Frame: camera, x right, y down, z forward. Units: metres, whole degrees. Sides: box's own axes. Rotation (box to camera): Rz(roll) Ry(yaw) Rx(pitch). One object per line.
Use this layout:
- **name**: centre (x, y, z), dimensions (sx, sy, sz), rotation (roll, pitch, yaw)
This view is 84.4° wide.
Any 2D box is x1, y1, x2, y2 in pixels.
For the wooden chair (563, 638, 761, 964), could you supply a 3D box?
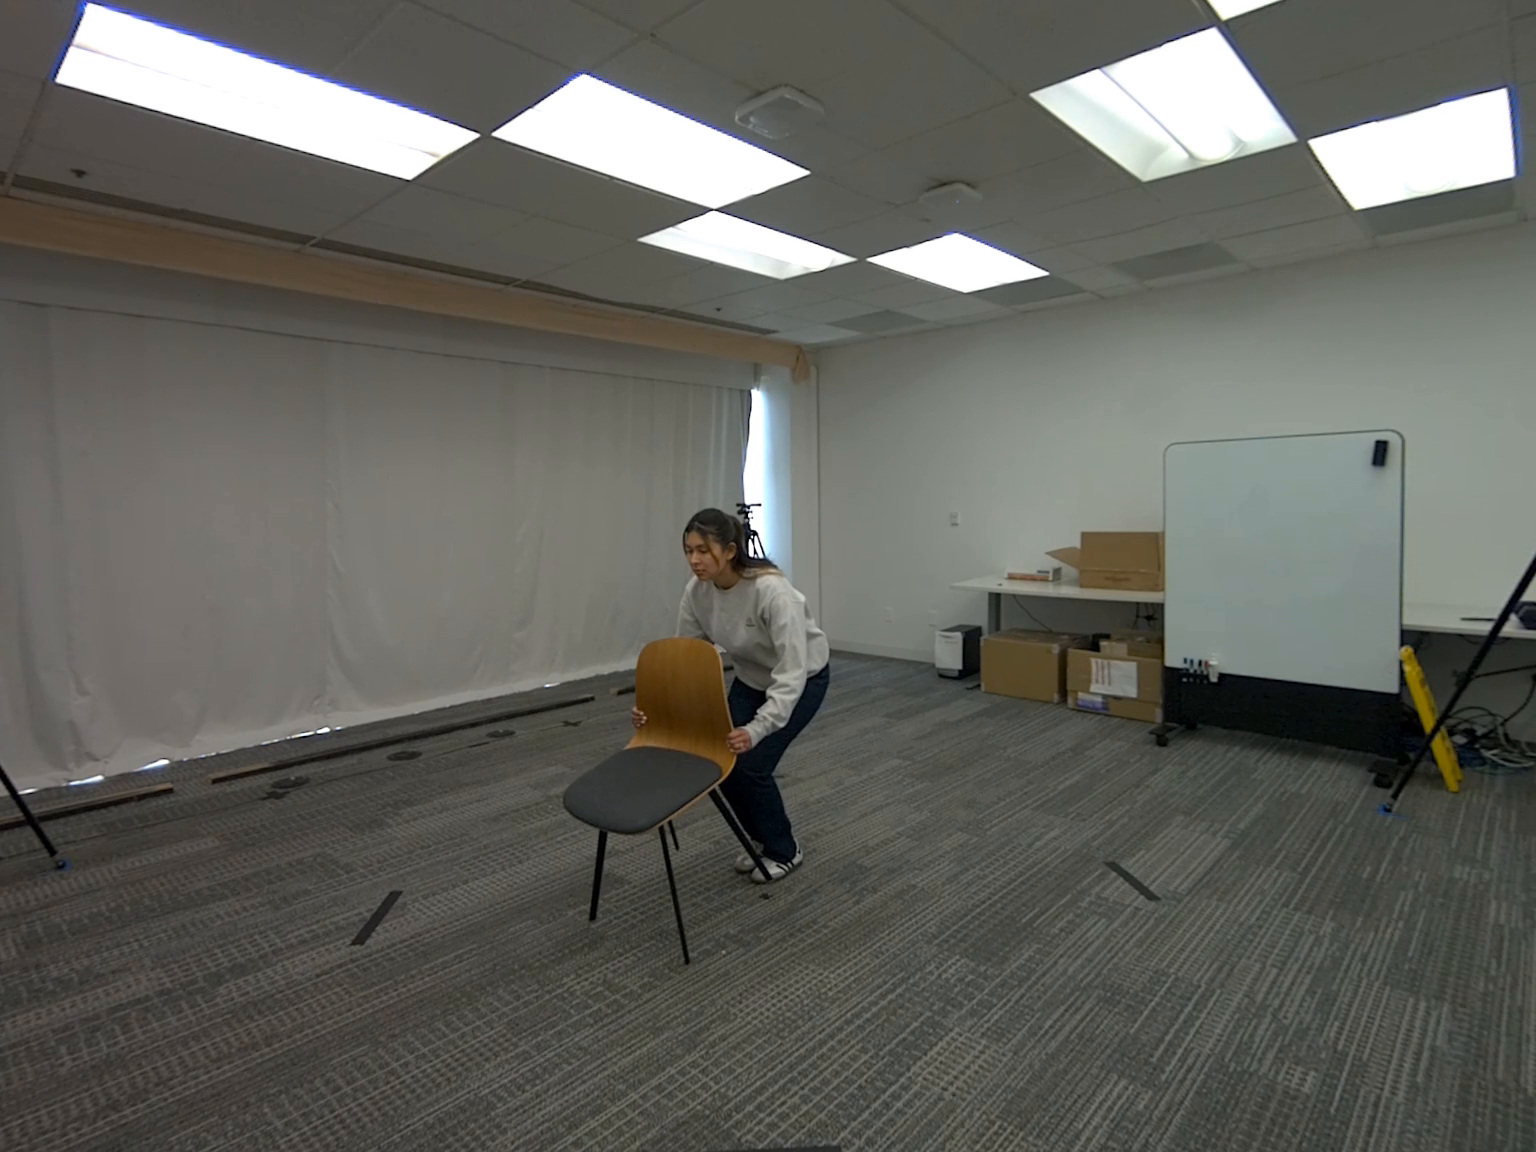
- **wooden chair**: centre (-0.359, 0.700, 2.746), dimensions (0.493, 0.870, 0.510), rotation (2, 13, 39)
